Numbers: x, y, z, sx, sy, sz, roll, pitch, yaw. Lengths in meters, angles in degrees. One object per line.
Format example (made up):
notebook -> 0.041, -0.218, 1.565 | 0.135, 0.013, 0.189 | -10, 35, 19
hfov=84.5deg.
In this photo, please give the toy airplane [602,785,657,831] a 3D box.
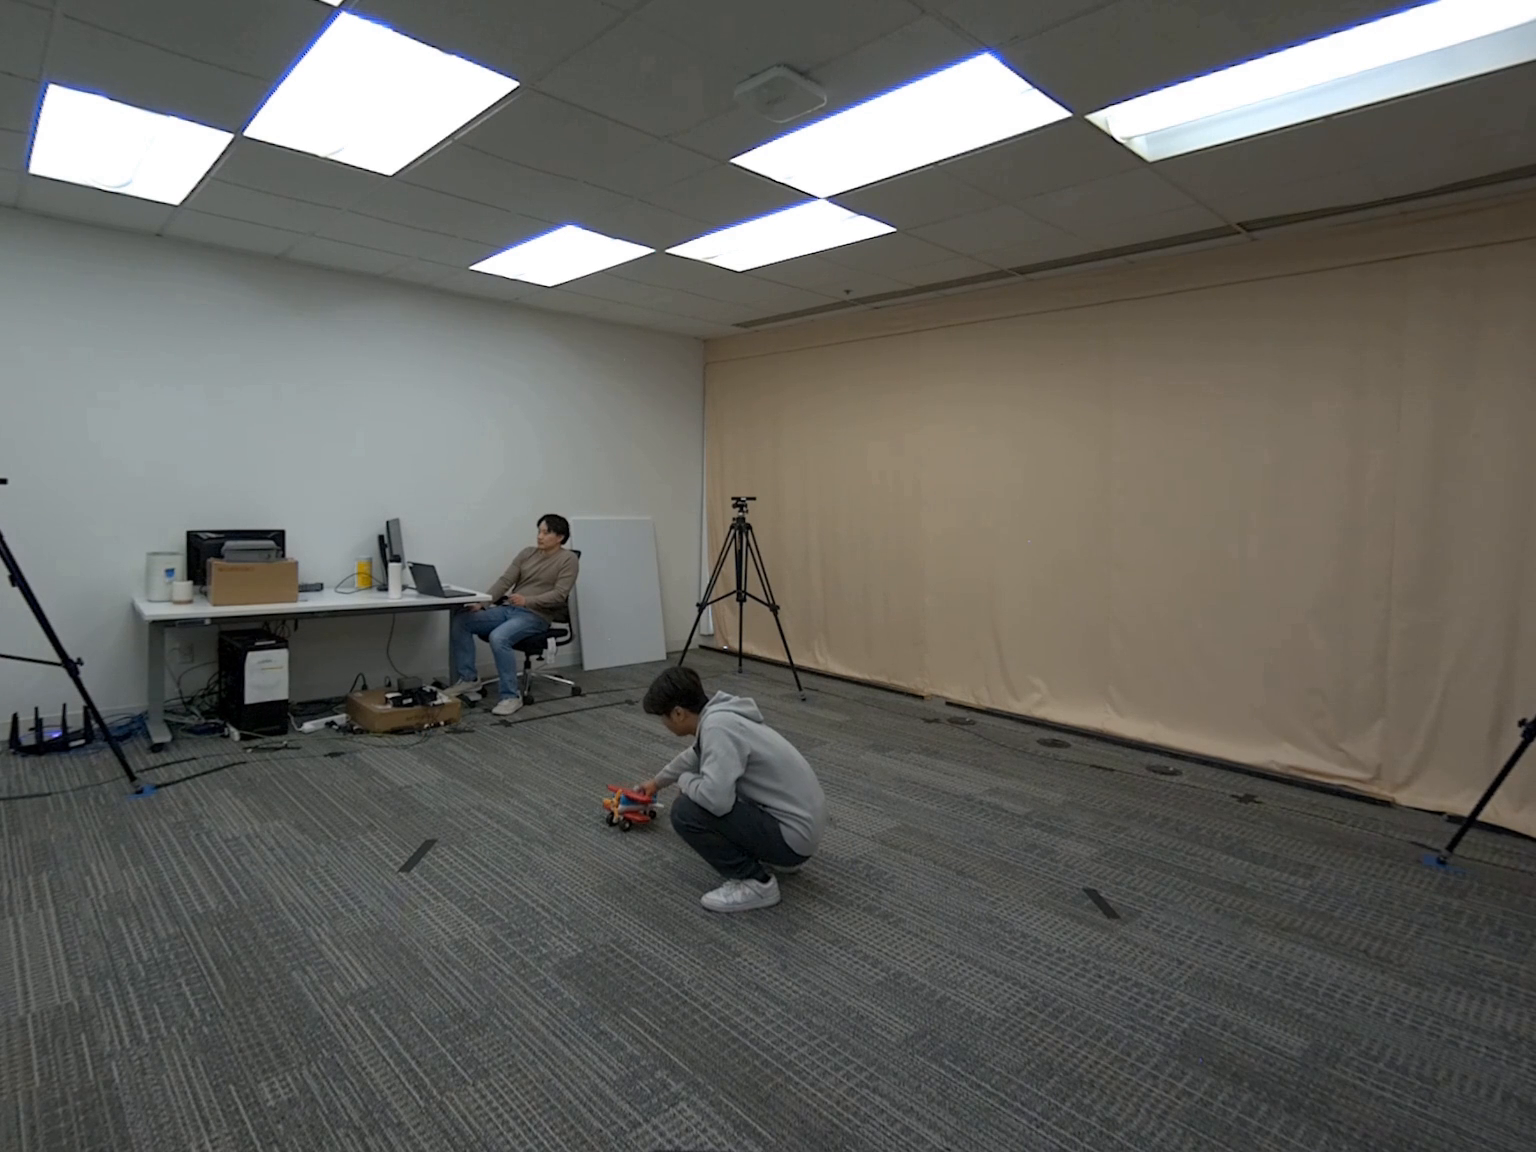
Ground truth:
toy airplane -> -0.597, 0.980, 3.601 | 0.254, 0.156, 0.257 | 2, 6, 12
